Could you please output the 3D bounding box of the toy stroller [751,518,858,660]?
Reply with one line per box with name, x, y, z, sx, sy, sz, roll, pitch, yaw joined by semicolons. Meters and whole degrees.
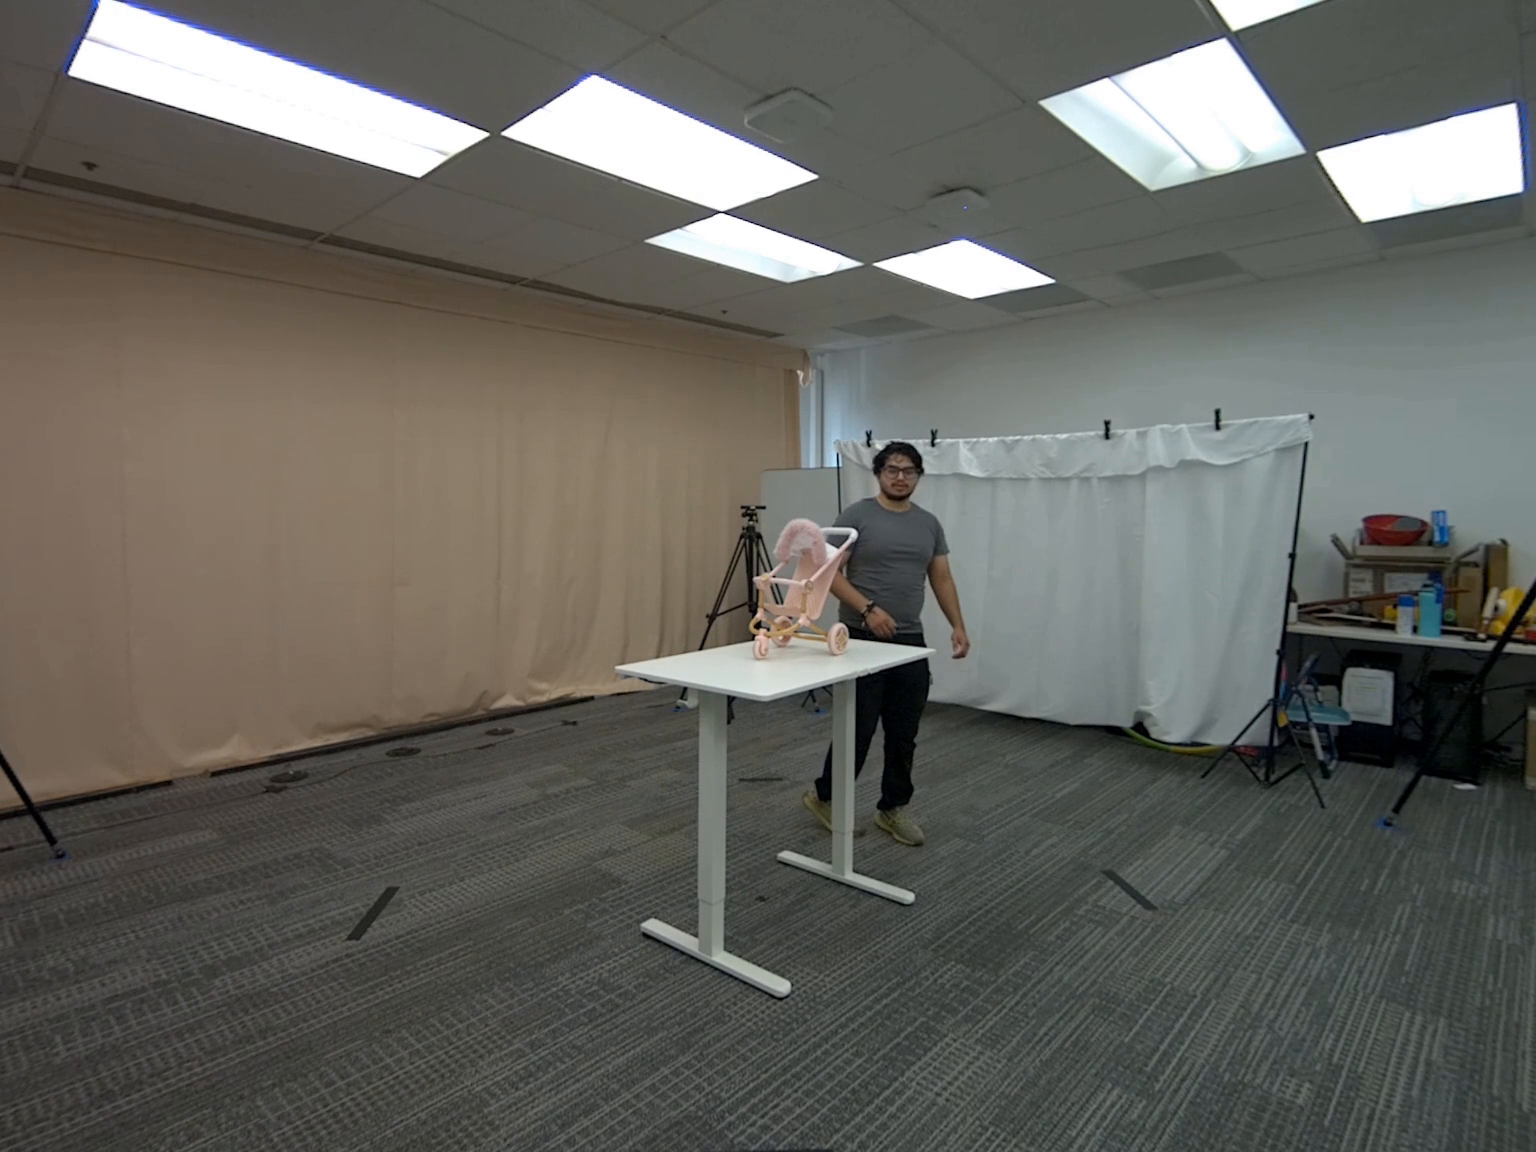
toy stroller;0.107;0.045;2.907;0.329;0.536;0.291;19;-10;-43
